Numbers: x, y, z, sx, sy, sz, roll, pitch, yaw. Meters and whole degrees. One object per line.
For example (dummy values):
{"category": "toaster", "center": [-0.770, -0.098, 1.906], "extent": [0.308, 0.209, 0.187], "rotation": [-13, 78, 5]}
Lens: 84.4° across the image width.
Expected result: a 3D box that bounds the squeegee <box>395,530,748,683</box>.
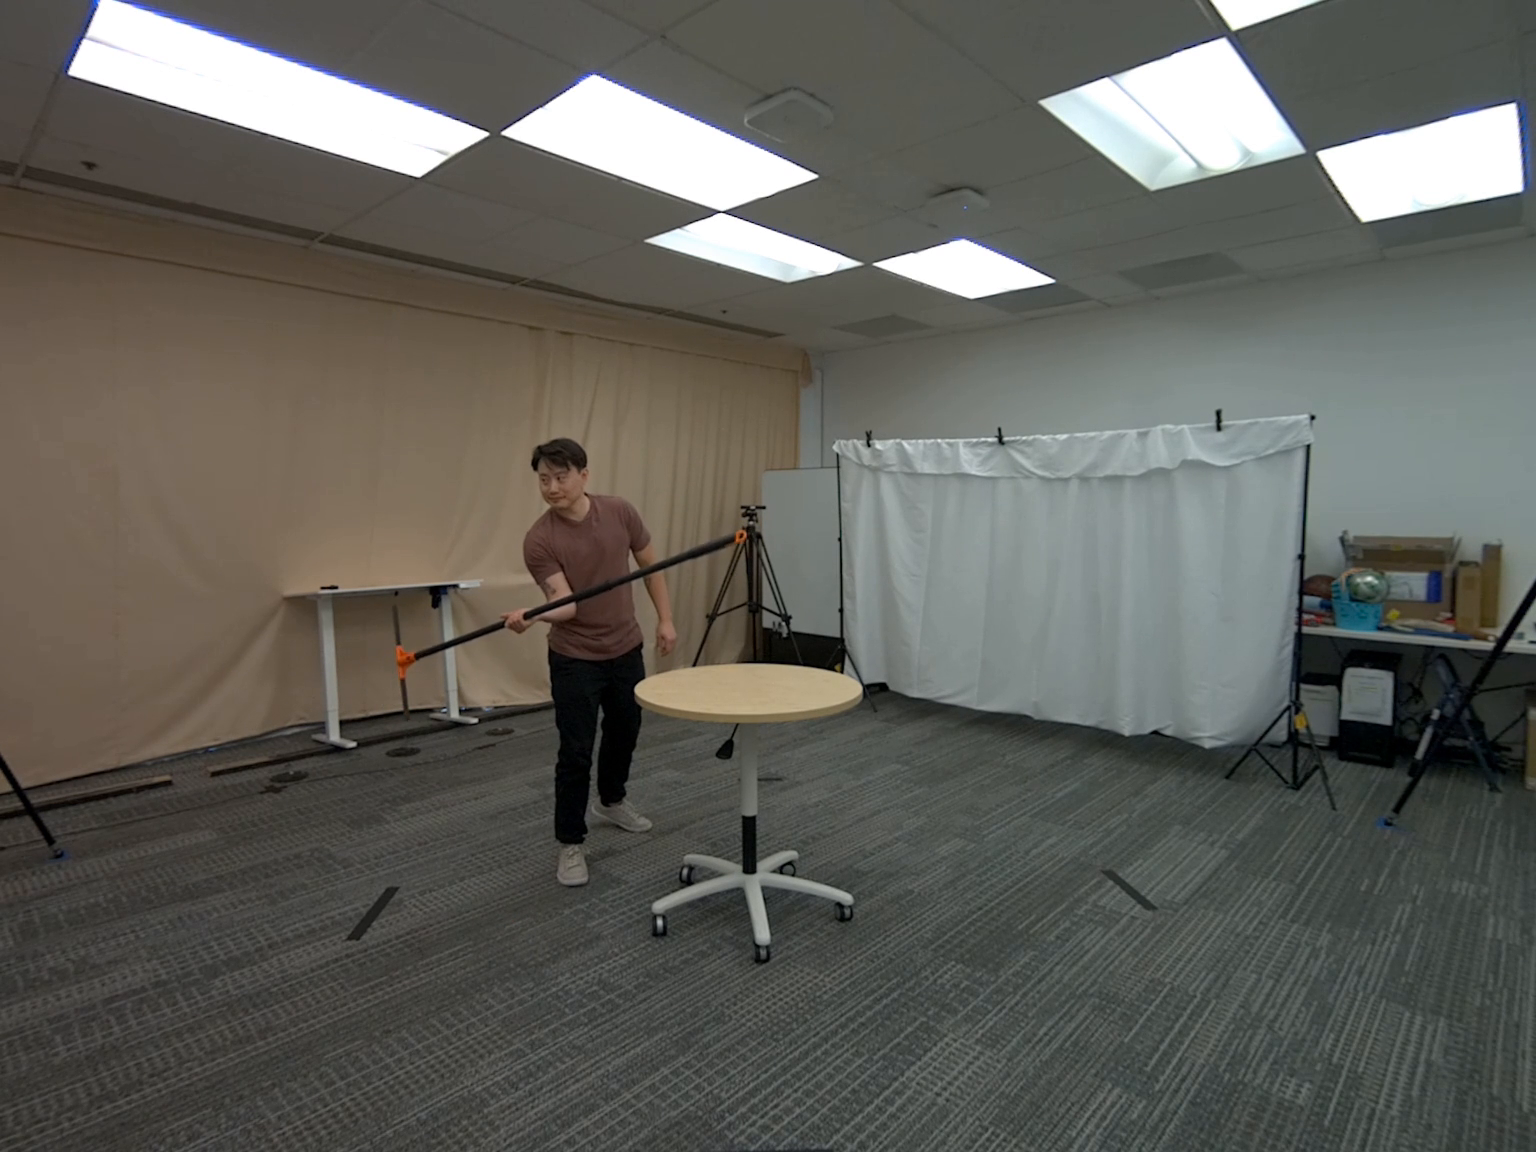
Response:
{"category": "squeegee", "center": [-0.715, 0.104, 2.768], "extent": [1.567, 0.442, 0.051], "rotation": [-19, -13, 27]}
